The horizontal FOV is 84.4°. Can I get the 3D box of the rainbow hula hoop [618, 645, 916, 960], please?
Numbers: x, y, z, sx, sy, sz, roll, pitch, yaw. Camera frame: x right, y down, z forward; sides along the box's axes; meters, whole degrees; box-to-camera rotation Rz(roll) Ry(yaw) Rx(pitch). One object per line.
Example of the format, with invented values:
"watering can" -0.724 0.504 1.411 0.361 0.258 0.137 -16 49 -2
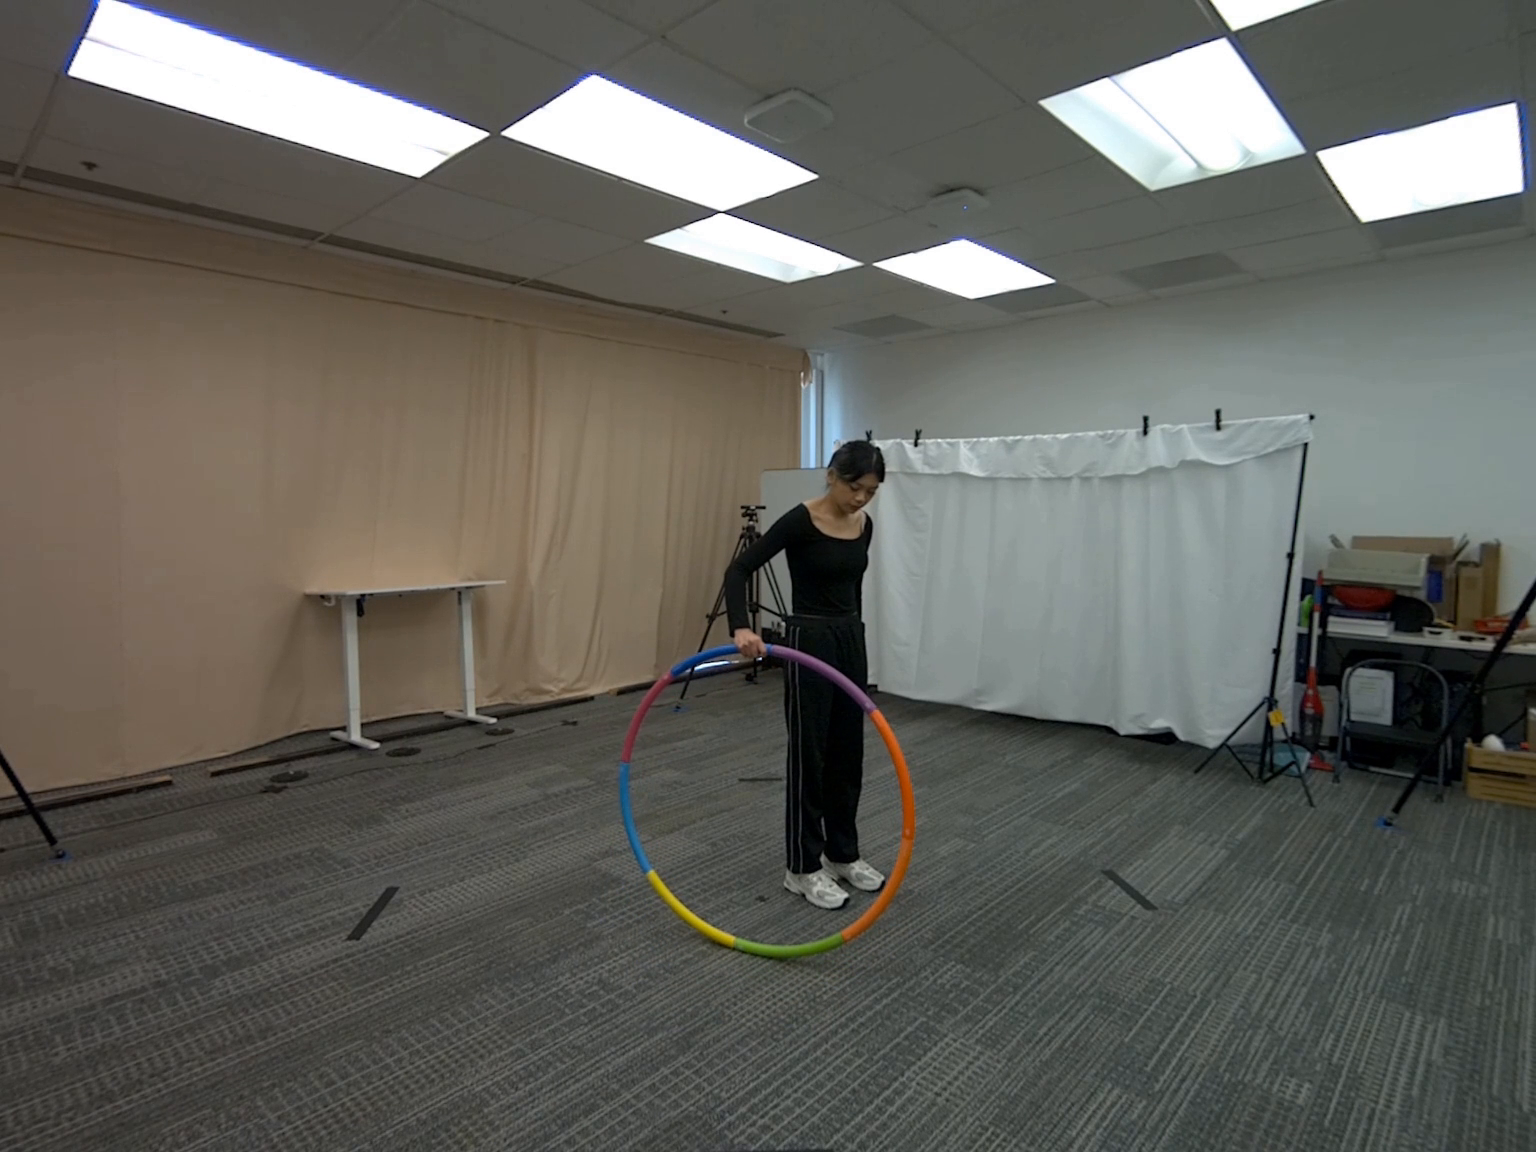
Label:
"rainbow hula hoop" -0.043 0.692 2.651 1.004 0.980 0.034 2 -2 26
